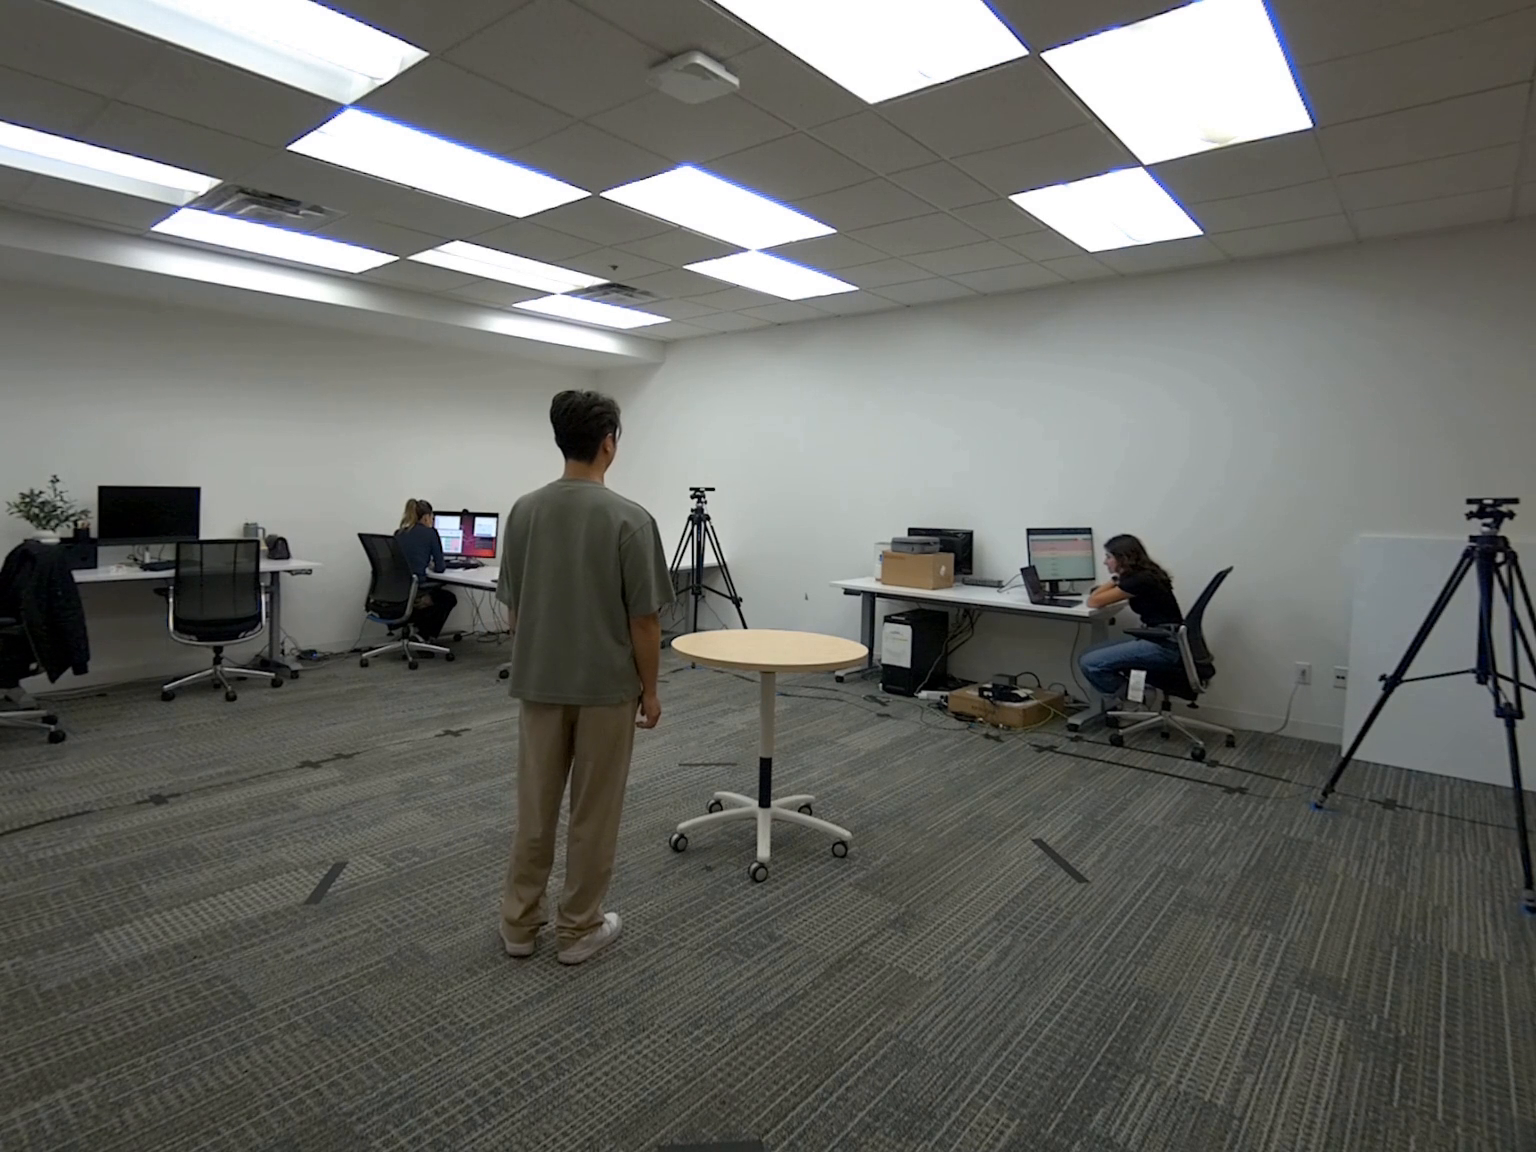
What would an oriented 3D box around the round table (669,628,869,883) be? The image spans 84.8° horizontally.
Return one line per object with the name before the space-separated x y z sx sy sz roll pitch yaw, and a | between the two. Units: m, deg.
round table | -0.009 0.655 3.336 0.784 0.784 0.789 1 4 -2
